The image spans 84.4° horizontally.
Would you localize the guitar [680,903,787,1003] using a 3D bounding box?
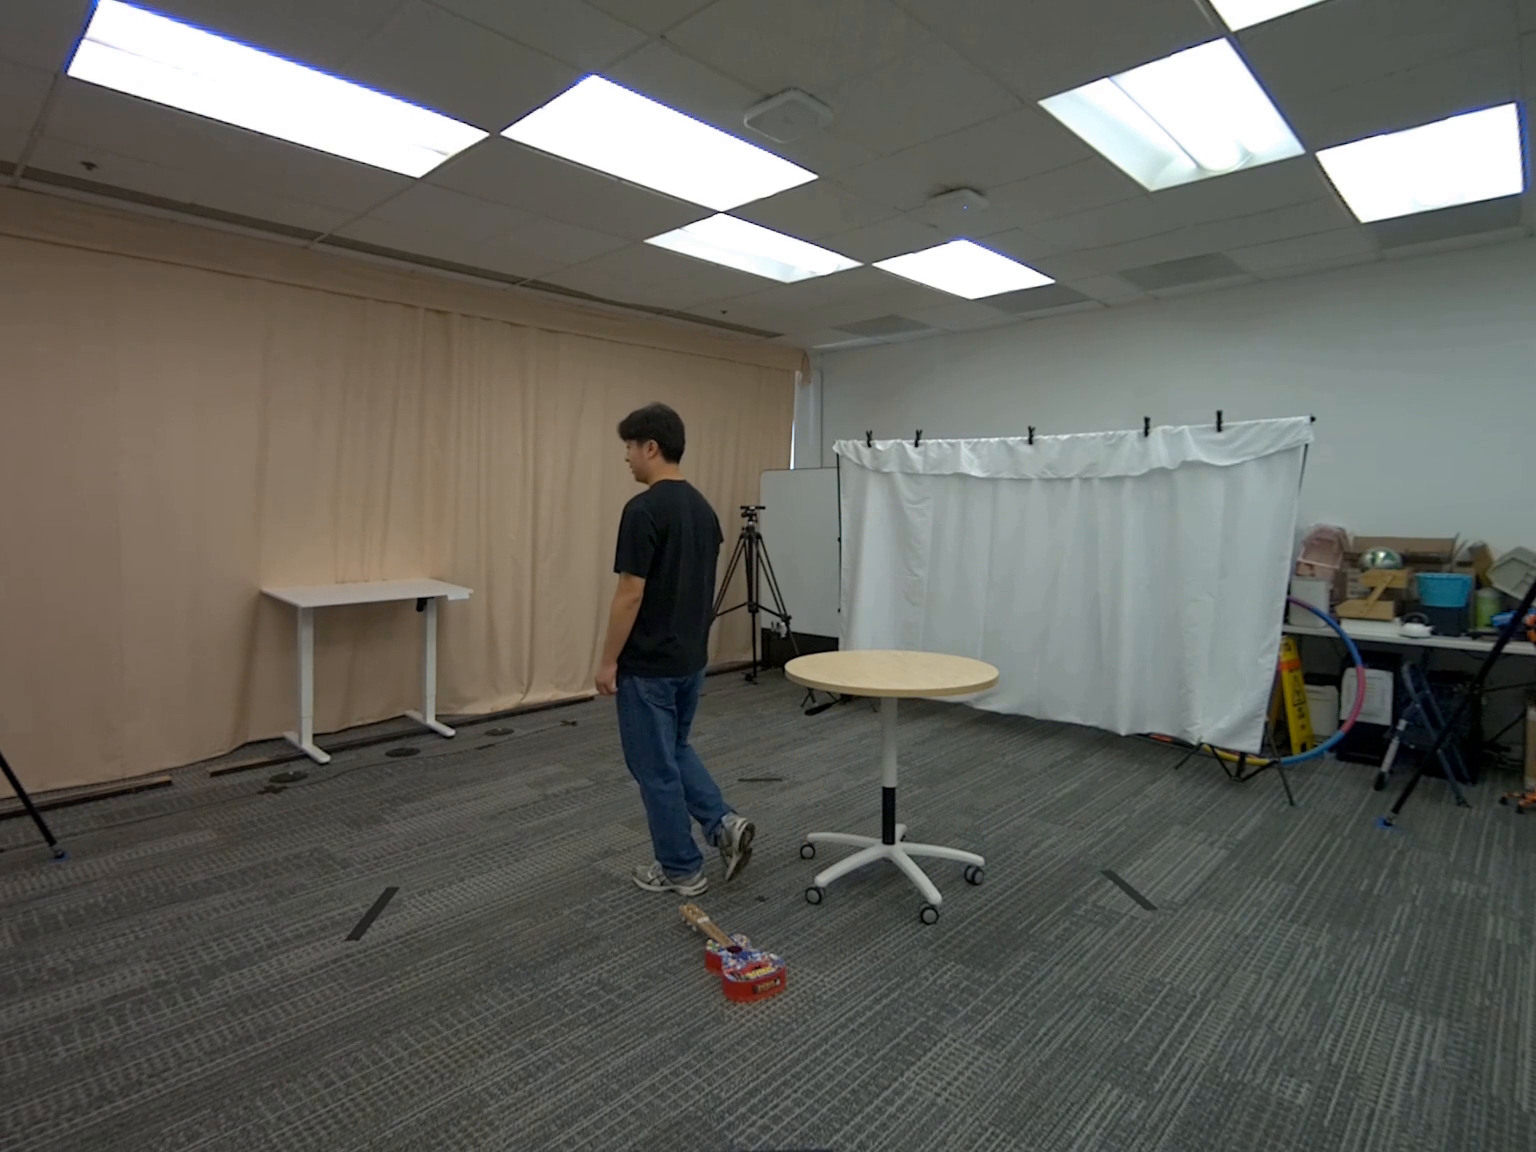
[{"bbox_3d":[-0.112,1.140,2.607,0.189,0.070,0.510,-3,6,-23],"label":"guitar"}]
